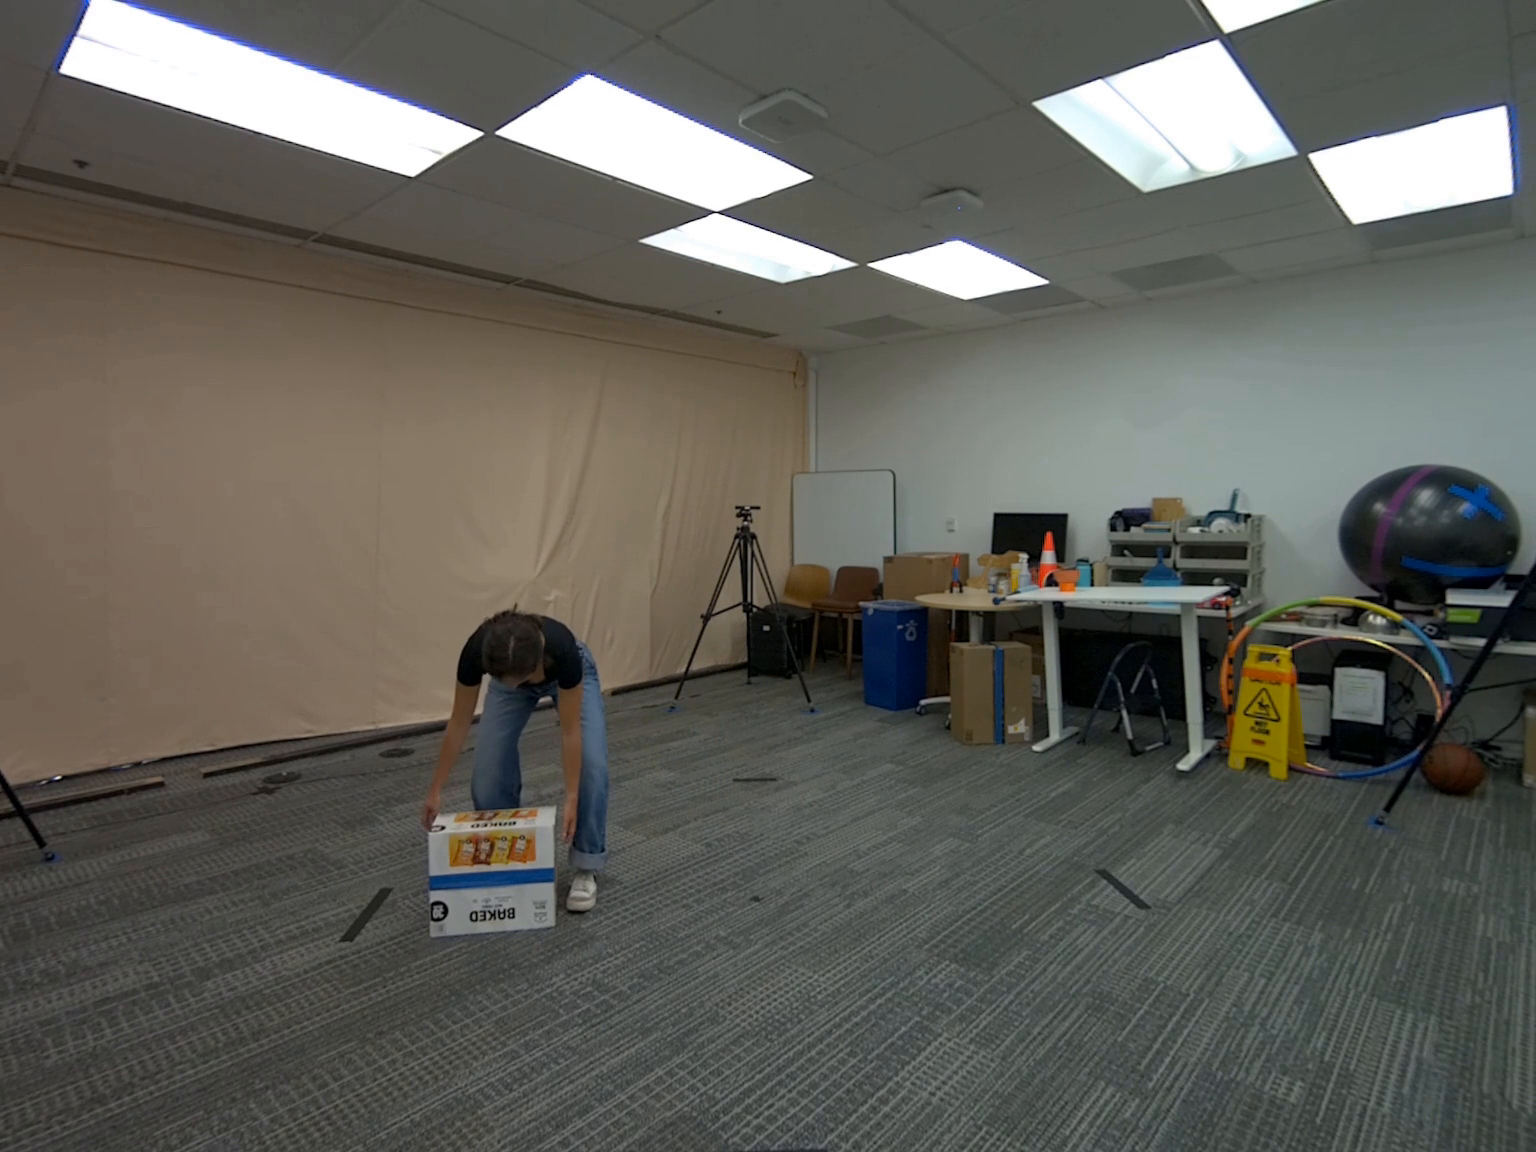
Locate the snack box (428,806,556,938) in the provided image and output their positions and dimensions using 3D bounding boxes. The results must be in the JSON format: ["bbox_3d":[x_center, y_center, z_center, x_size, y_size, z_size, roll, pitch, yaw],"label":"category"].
[{"bbox_3d":[-0.924,0.994,2.850,0.401,0.340,0.208,-1,1,-10],"label":"snack box"}]
